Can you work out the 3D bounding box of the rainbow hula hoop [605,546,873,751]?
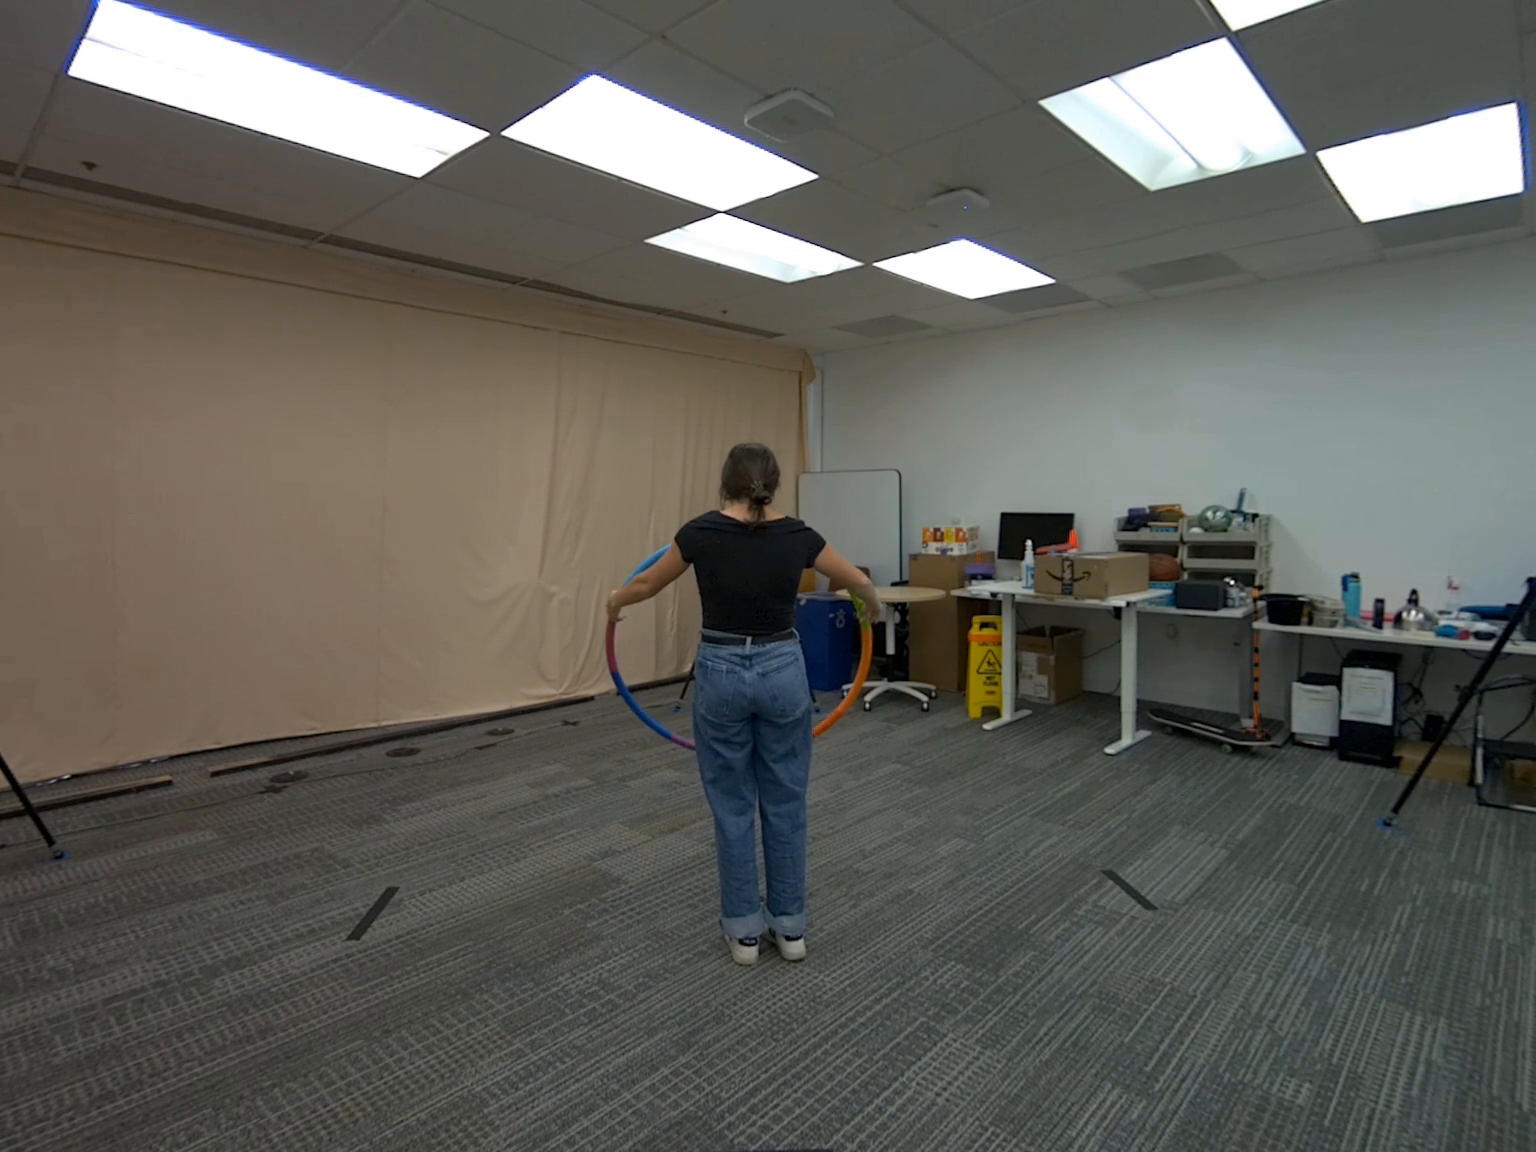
[{"bbox_3d":[-0.090,0.269,3.088,0.978,0.964,0.036,1,27,-1],"label":"rainbow hula hoop"}]
